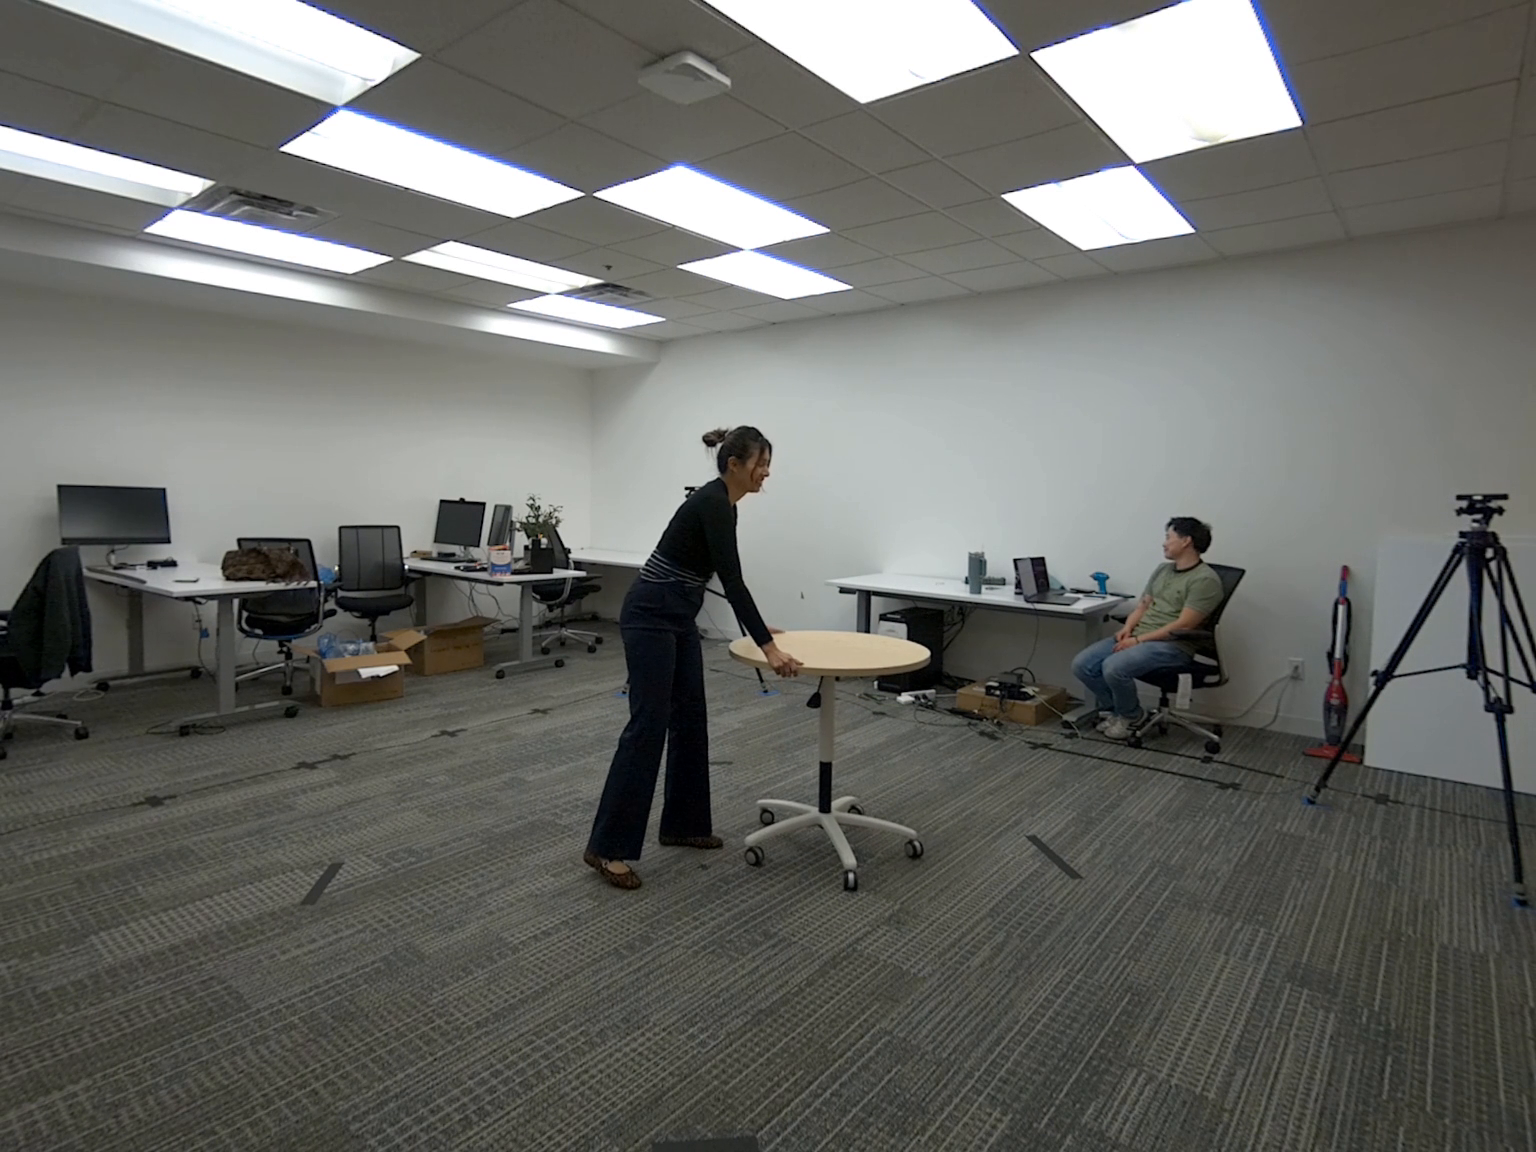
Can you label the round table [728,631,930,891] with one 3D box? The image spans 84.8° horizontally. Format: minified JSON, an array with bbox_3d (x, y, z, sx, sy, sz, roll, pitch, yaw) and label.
[{"bbox_3d":[0.214,0.668,3.289,0.763,0.791,0.768,1,4,-2],"label":"round table"}]
